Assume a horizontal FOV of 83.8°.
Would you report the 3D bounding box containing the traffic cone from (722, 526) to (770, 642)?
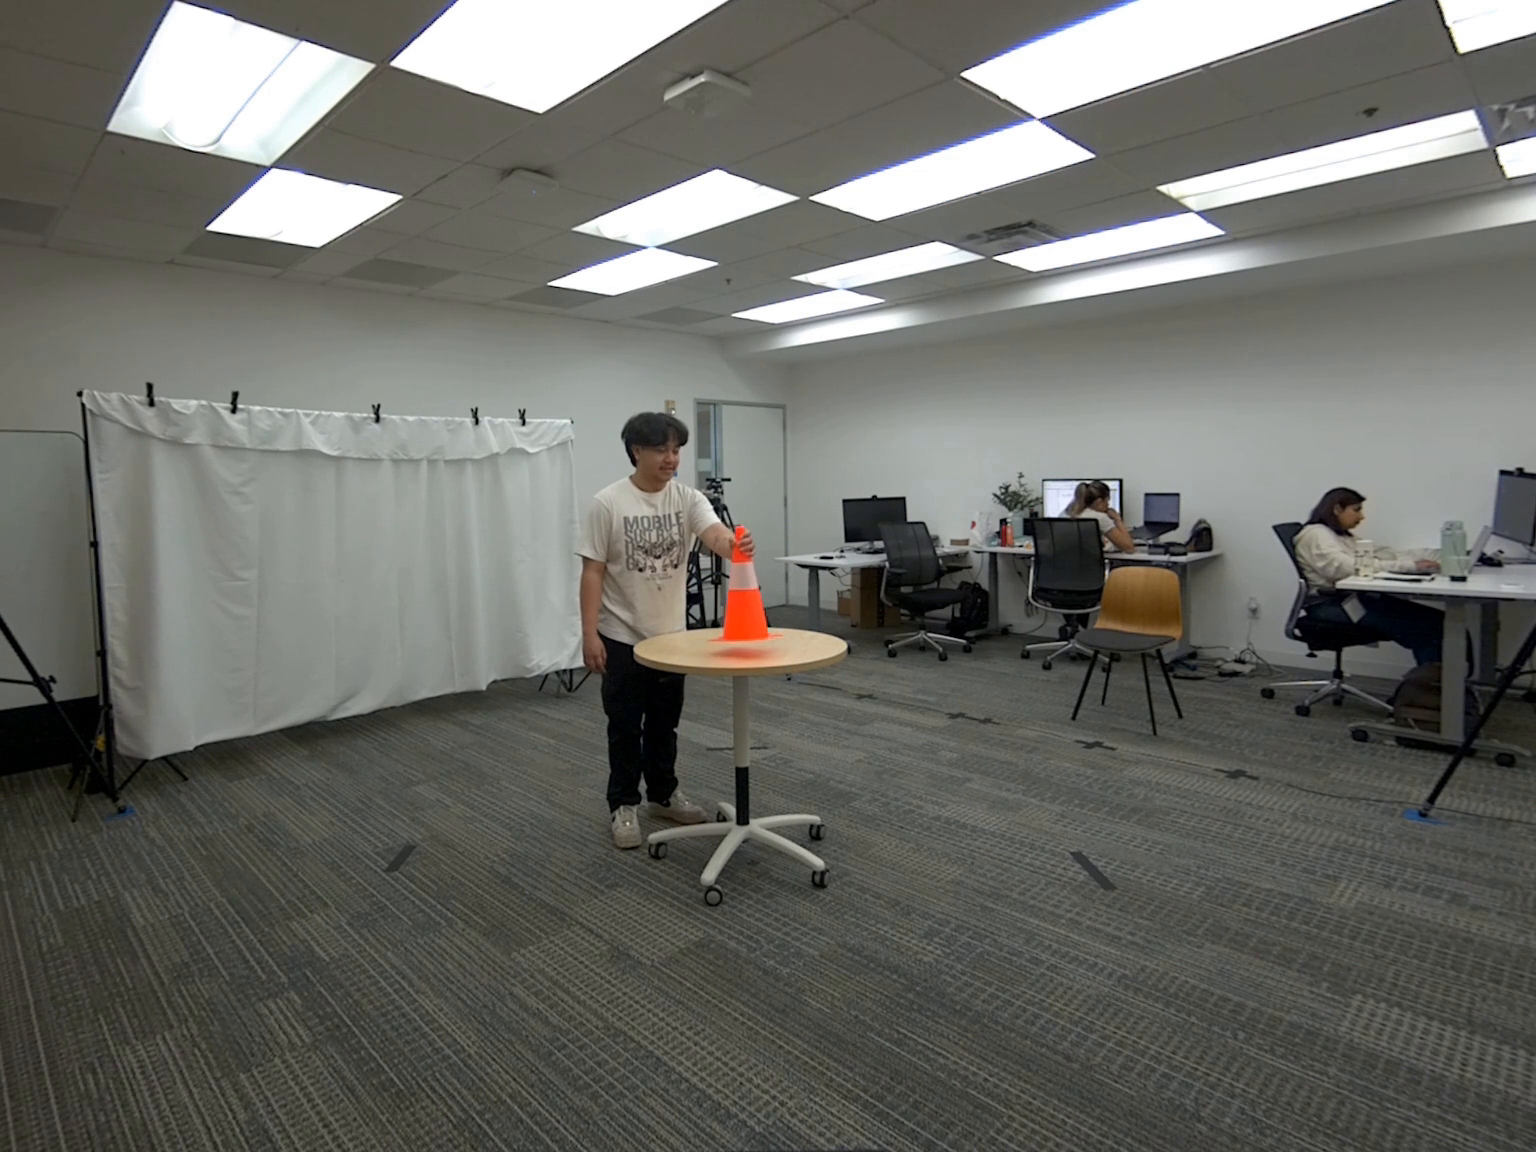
[{"bbox_3d":[-0.085,0.028,2.922,0.208,0.383,0.200,-3,1,34],"label":"traffic cone"}]
